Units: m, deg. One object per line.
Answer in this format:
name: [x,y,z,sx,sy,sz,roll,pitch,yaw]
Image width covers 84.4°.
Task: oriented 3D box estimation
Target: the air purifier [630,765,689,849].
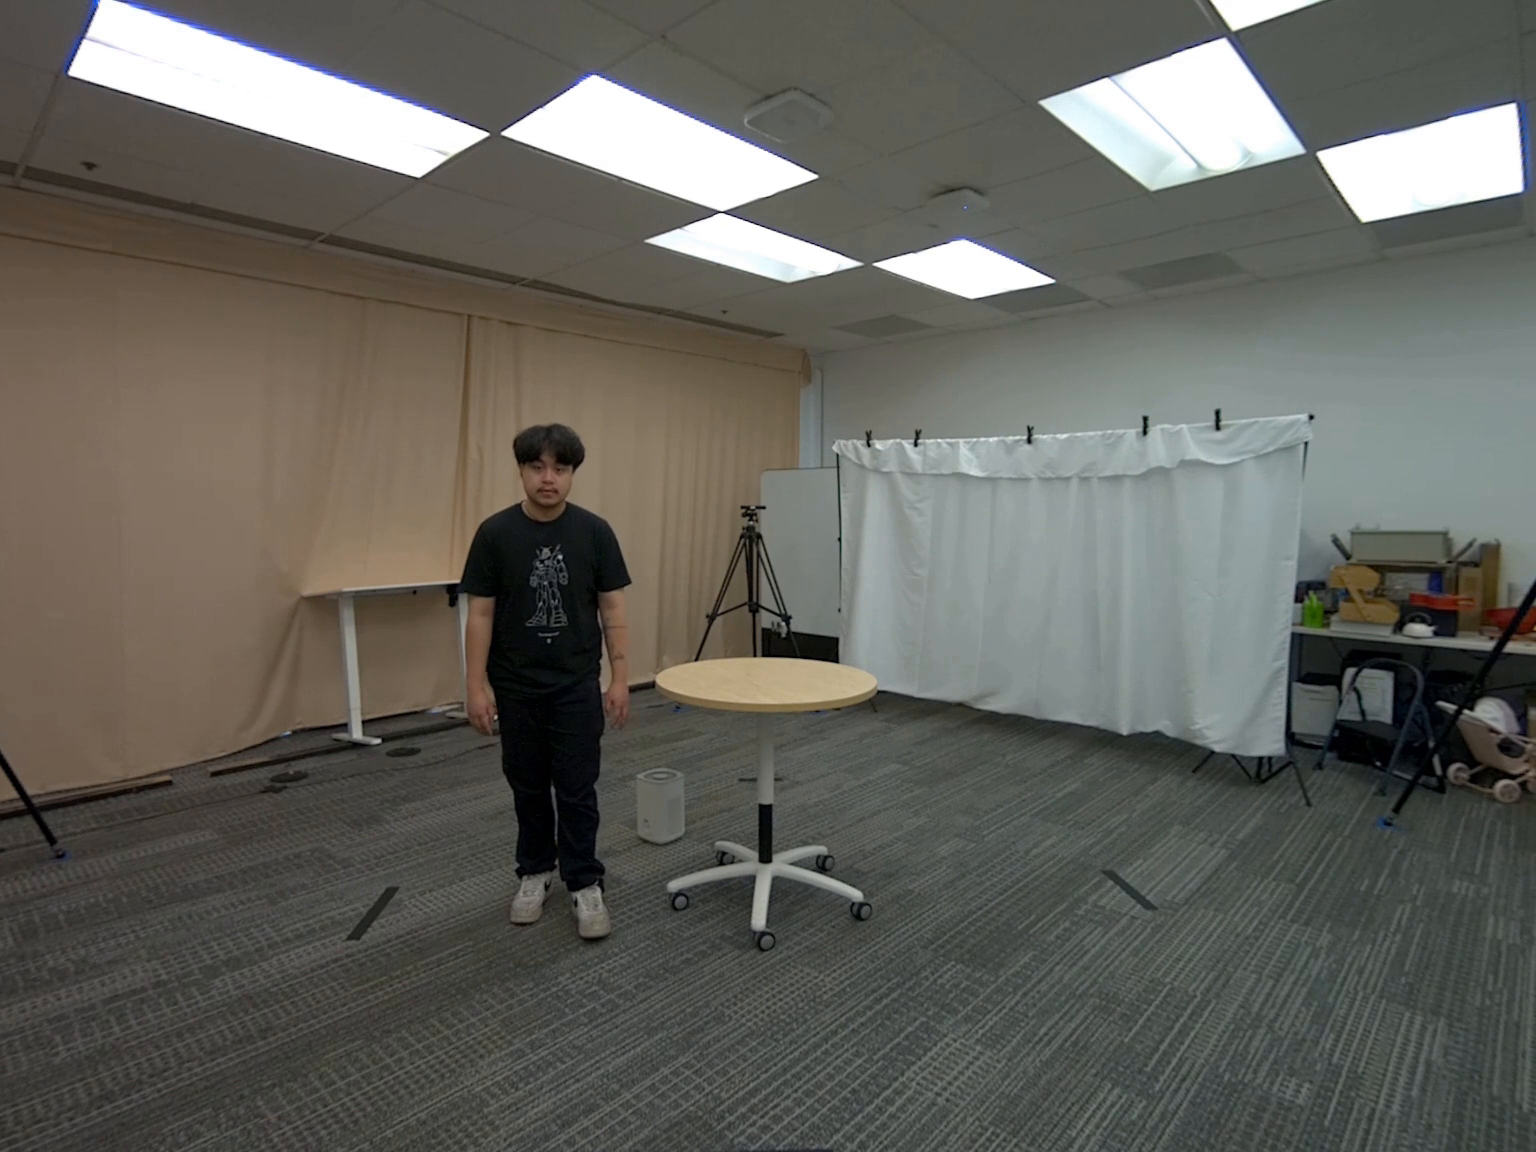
air purifier: [-0.456,0.958,3.538,0.177,0.265,0.166,2,3,40]
